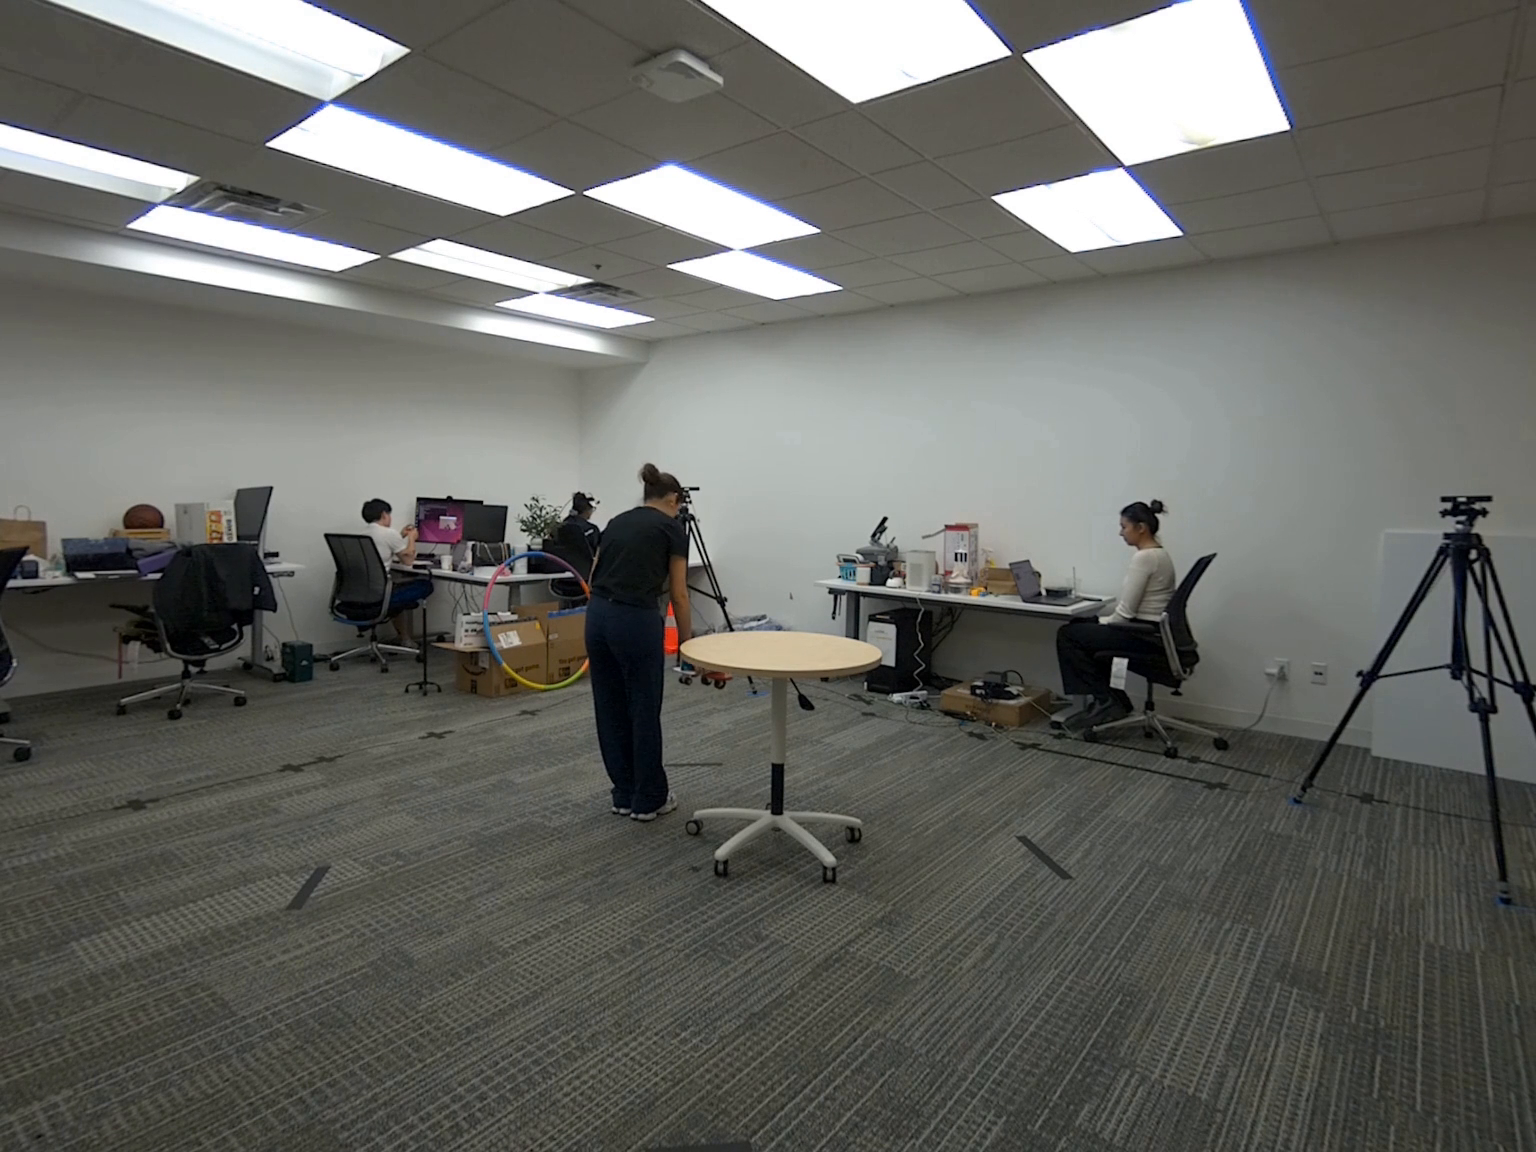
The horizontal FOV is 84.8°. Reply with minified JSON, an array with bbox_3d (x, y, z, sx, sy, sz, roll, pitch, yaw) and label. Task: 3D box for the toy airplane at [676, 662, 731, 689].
[{"bbox_3d":[-0.257,0.416,3.781,0.256,0.157,0.253,10,-4,16],"label":"toy airplane"}]
